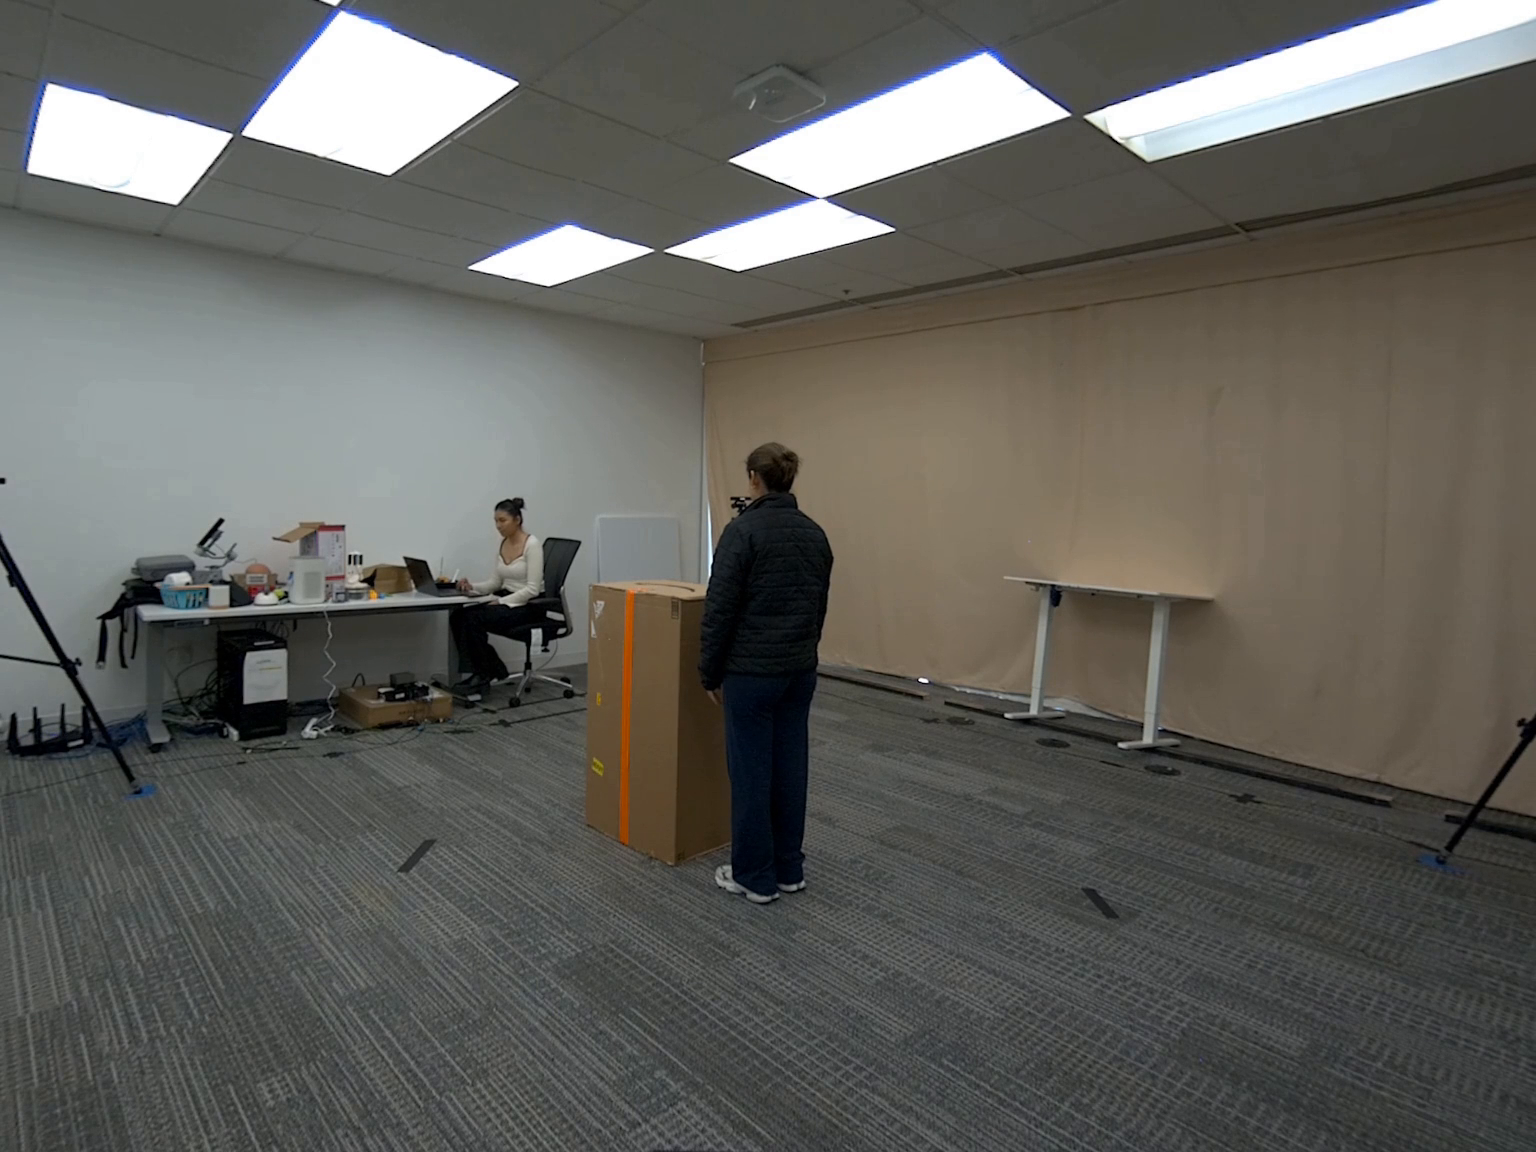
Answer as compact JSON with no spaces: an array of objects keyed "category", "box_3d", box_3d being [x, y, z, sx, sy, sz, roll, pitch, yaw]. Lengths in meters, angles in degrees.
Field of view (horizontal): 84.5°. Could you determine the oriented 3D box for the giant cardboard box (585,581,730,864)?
[{"category":"giant cardboard box","box_3d":[-0.417,0.560,3.477,0.592,1.023,0.416,5,4,44]}]
